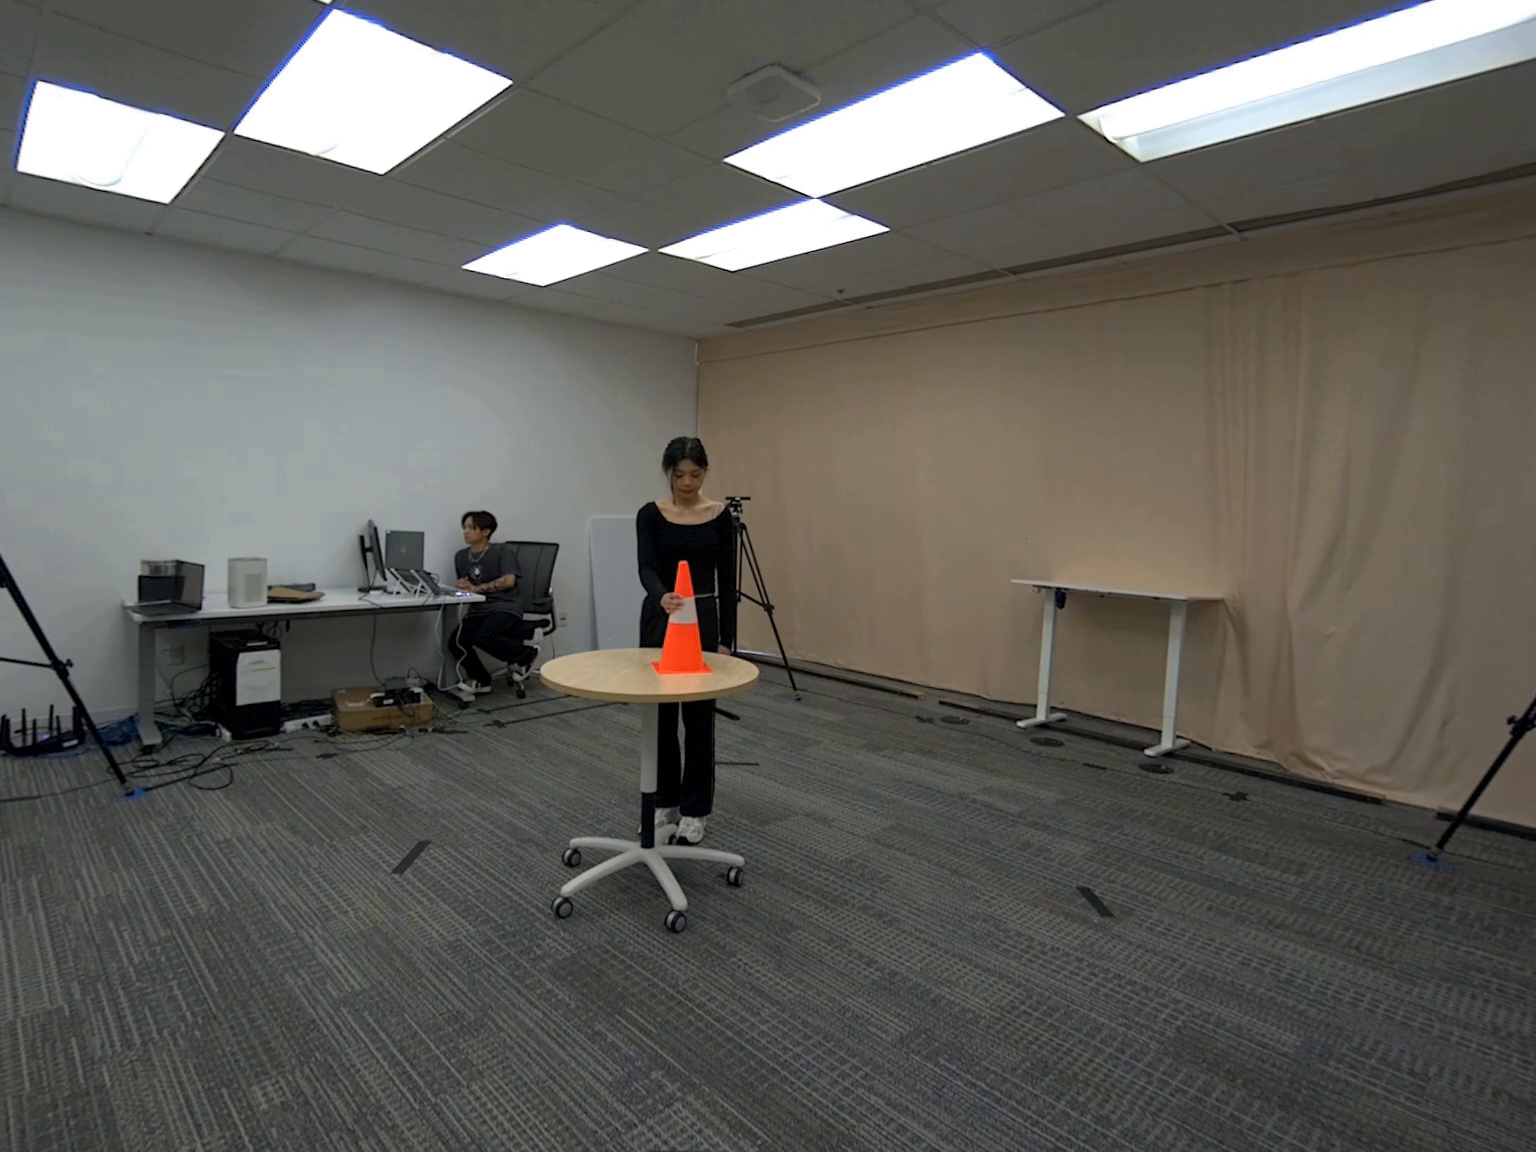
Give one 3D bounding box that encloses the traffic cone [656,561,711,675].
[{"bbox_3d":[-0.321,0.140,2.991,0.203,0.382,0.206,-1,4,-11],"label":"traffic cone"}]
